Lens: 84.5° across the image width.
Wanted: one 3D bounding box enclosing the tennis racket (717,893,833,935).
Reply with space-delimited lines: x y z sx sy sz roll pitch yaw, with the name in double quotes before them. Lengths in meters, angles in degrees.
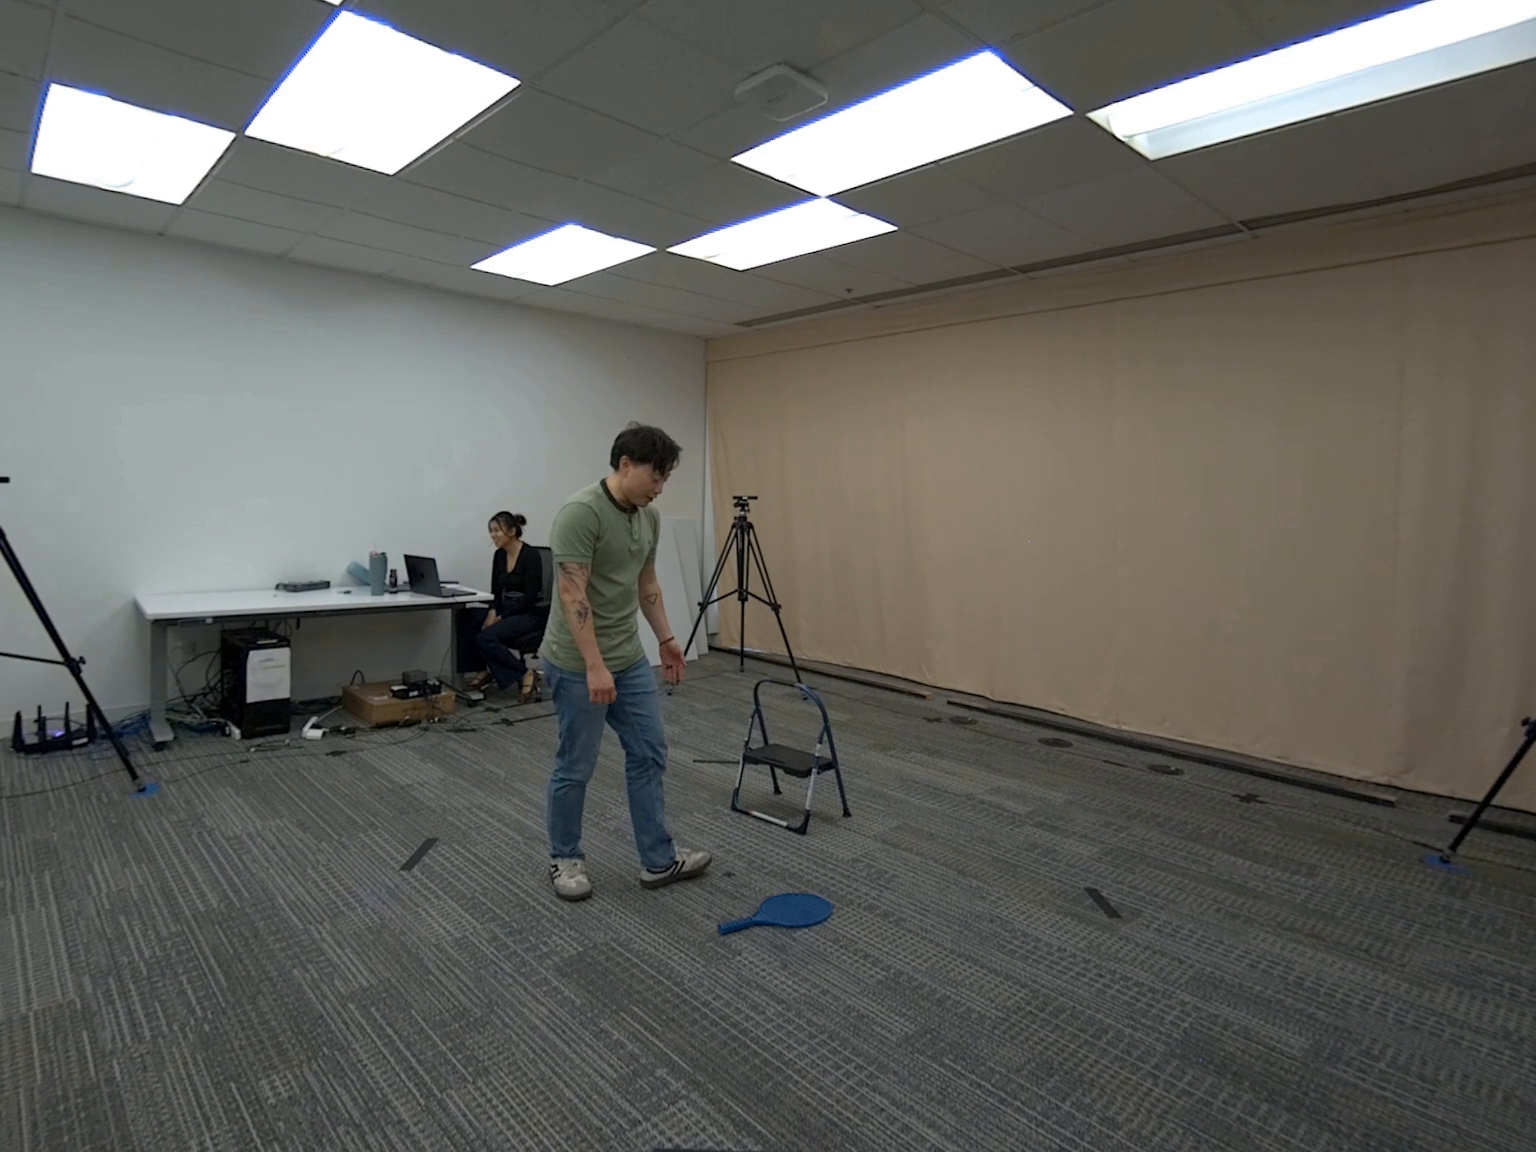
"tennis racket" 0.023 1.125 2.786 0.423 0.031 0.219 -1 6 -34
